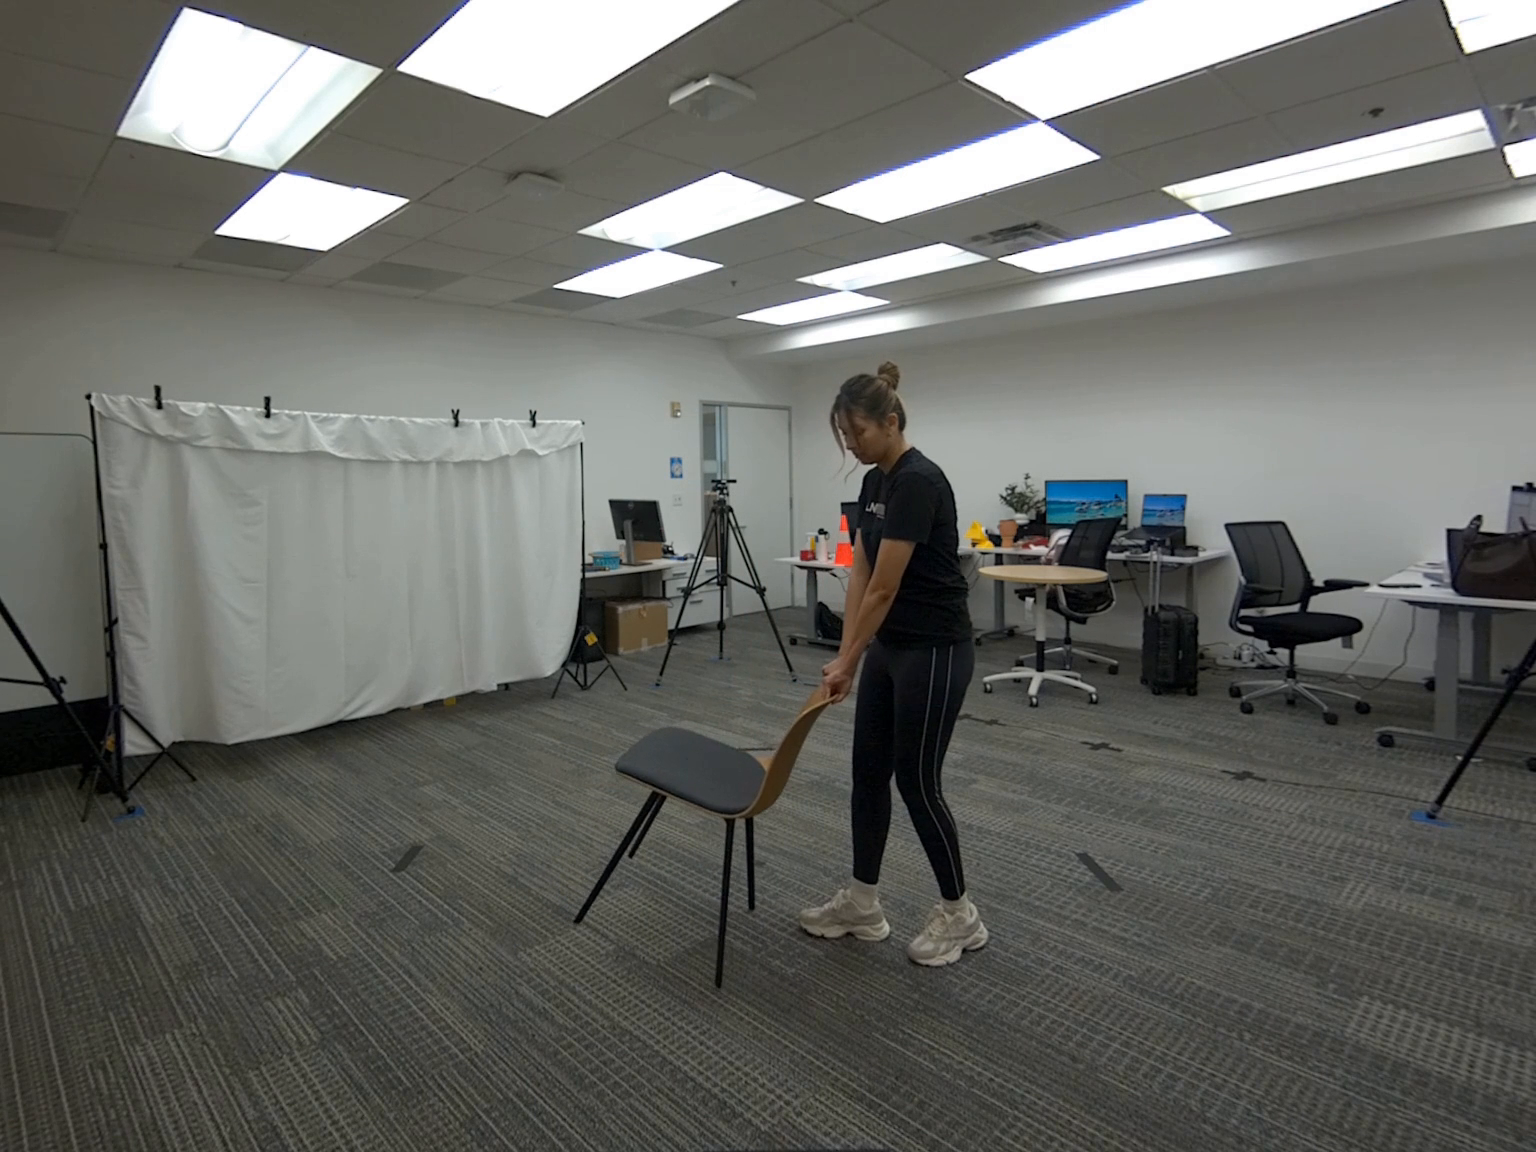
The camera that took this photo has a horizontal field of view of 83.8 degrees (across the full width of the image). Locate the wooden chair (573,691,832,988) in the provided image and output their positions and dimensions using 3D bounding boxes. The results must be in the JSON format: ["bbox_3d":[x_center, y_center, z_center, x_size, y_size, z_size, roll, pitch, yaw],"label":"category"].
[{"bbox_3d":[-0.182,0.639,2.546,0.531,0.873,0.474,22,9,10],"label":"wooden chair"}]
